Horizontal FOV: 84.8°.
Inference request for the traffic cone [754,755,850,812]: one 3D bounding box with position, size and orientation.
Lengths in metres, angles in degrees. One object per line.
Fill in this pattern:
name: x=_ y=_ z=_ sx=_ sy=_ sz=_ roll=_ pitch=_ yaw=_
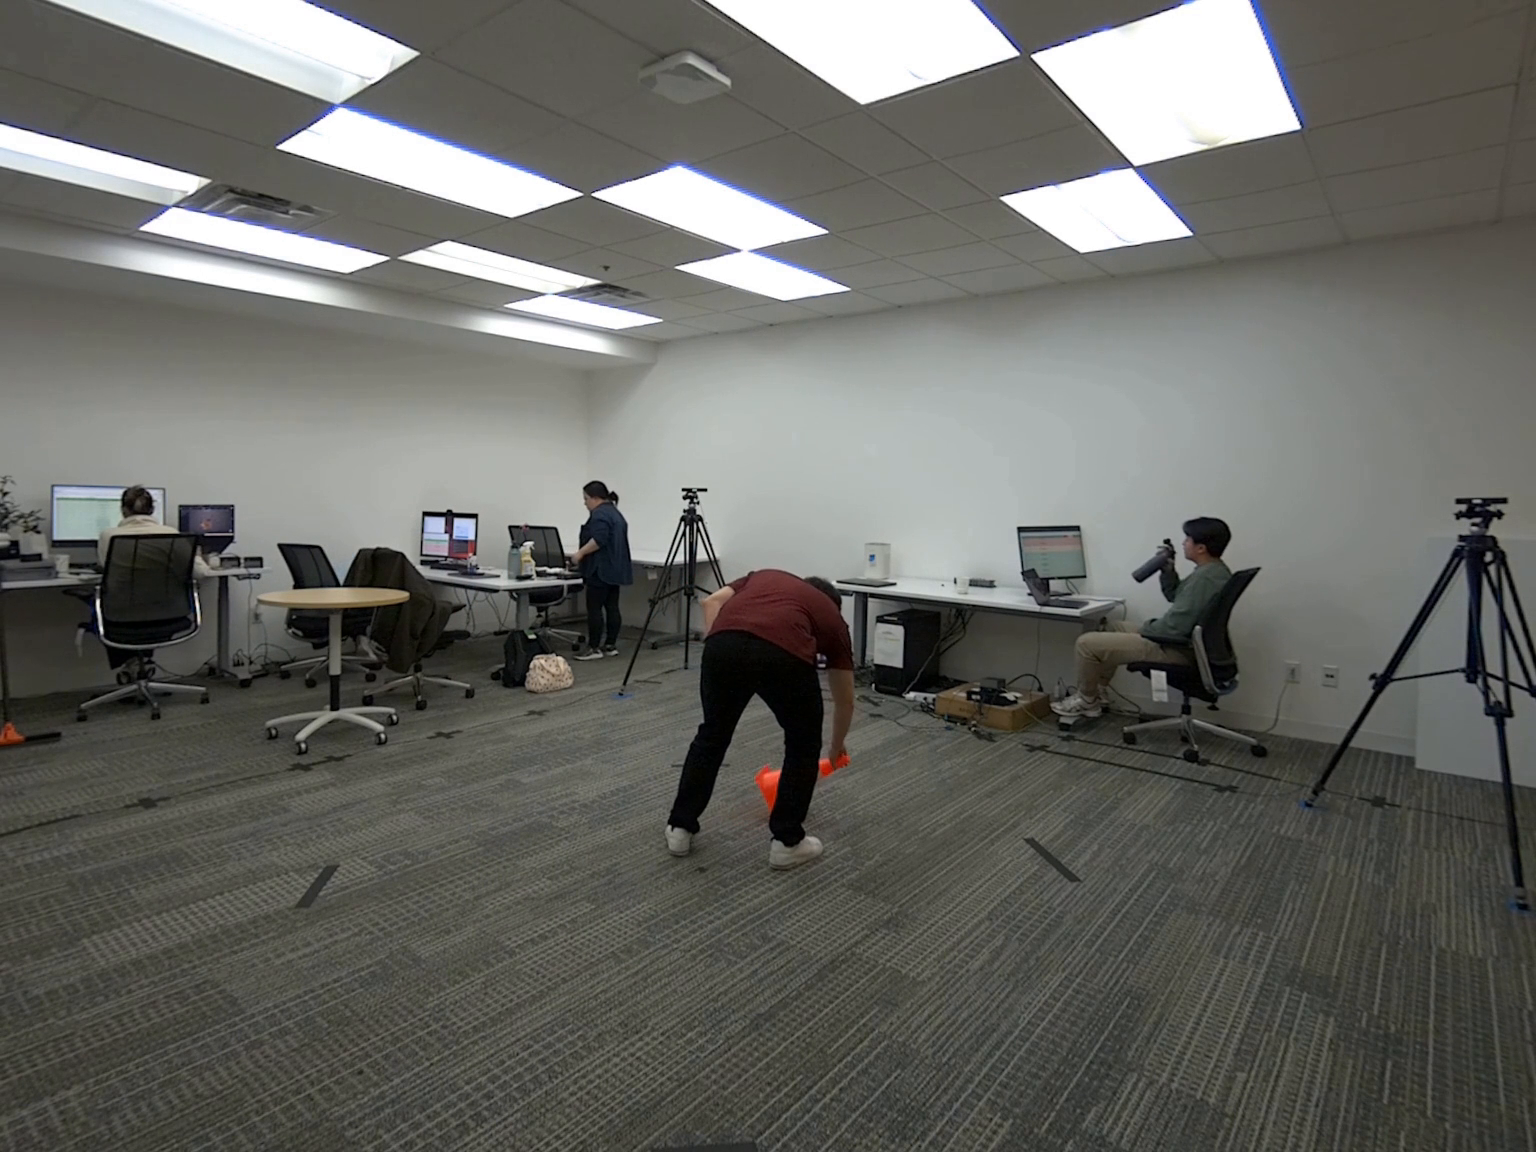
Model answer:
traffic cone: x=0.163 y=0.845 z=3.628 sx=0.386 sy=0.206 sz=0.201 roll=-28 pitch=-8 yaw=16
